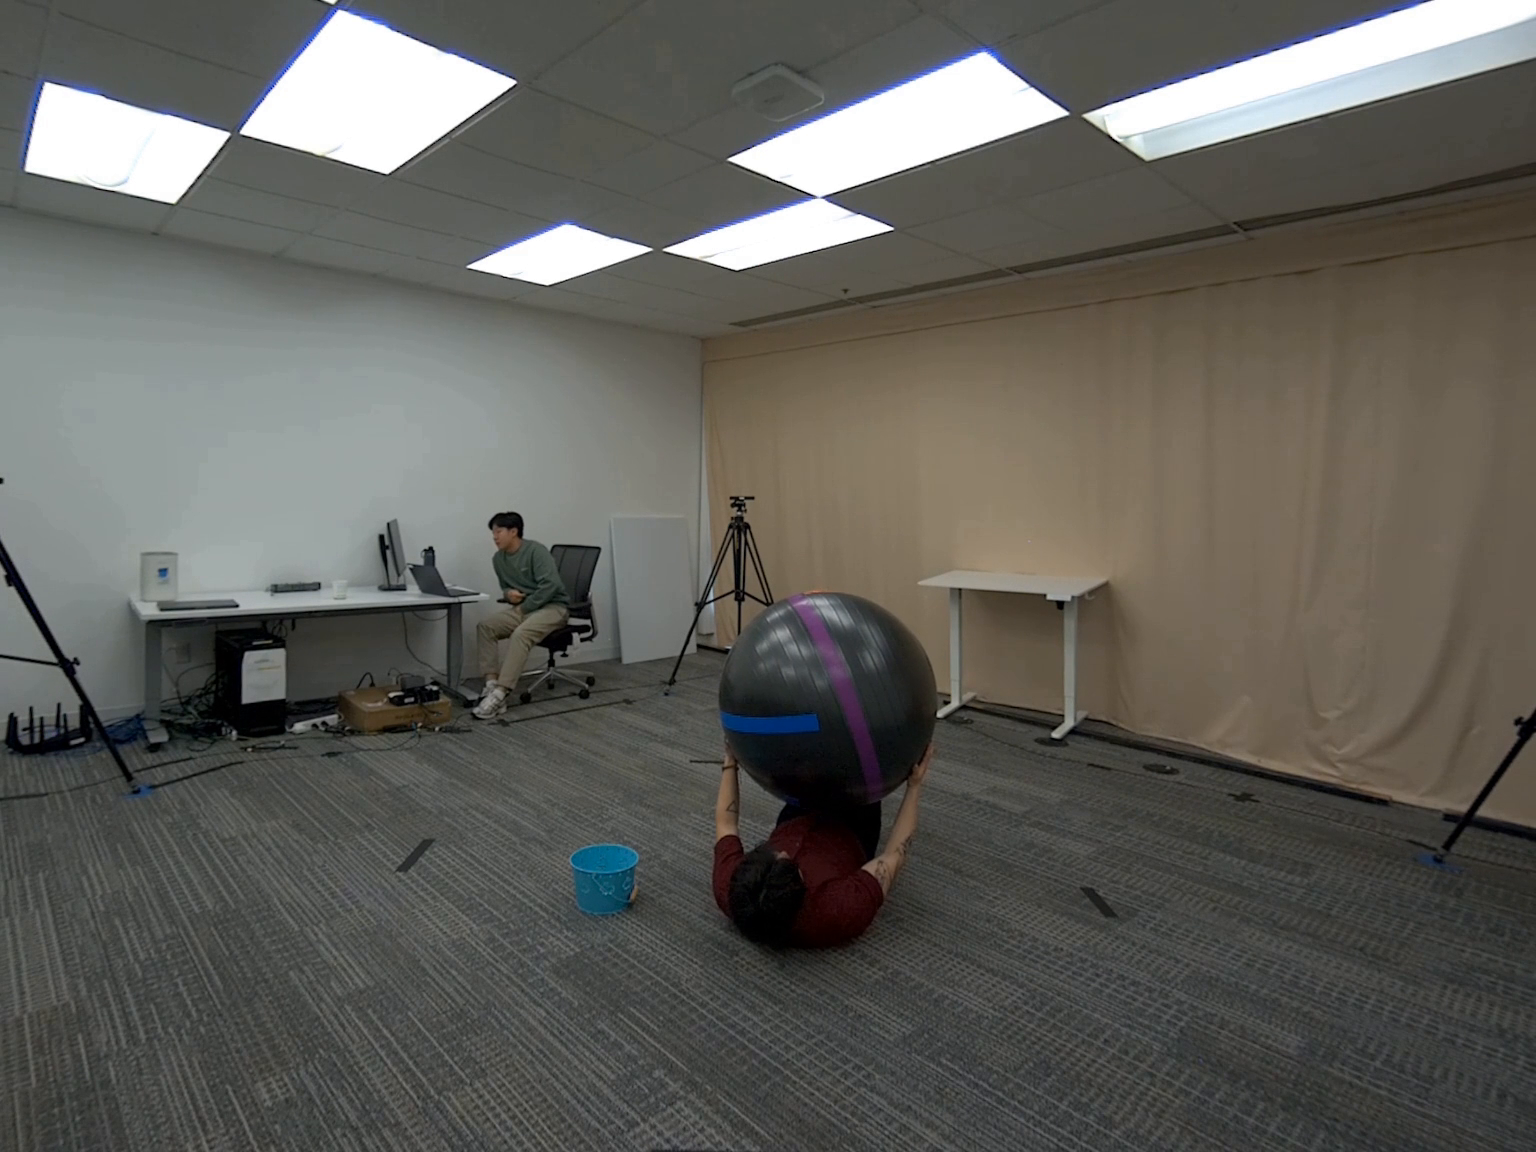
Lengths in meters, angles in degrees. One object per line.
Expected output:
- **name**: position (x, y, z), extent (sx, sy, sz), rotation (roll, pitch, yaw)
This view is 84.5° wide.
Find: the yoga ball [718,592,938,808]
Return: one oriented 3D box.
- **yoga ball**: position (0.205, 0.434, 2.969), extent (0.757, 0.756, 0.761), rotation (1, 4, -1)
